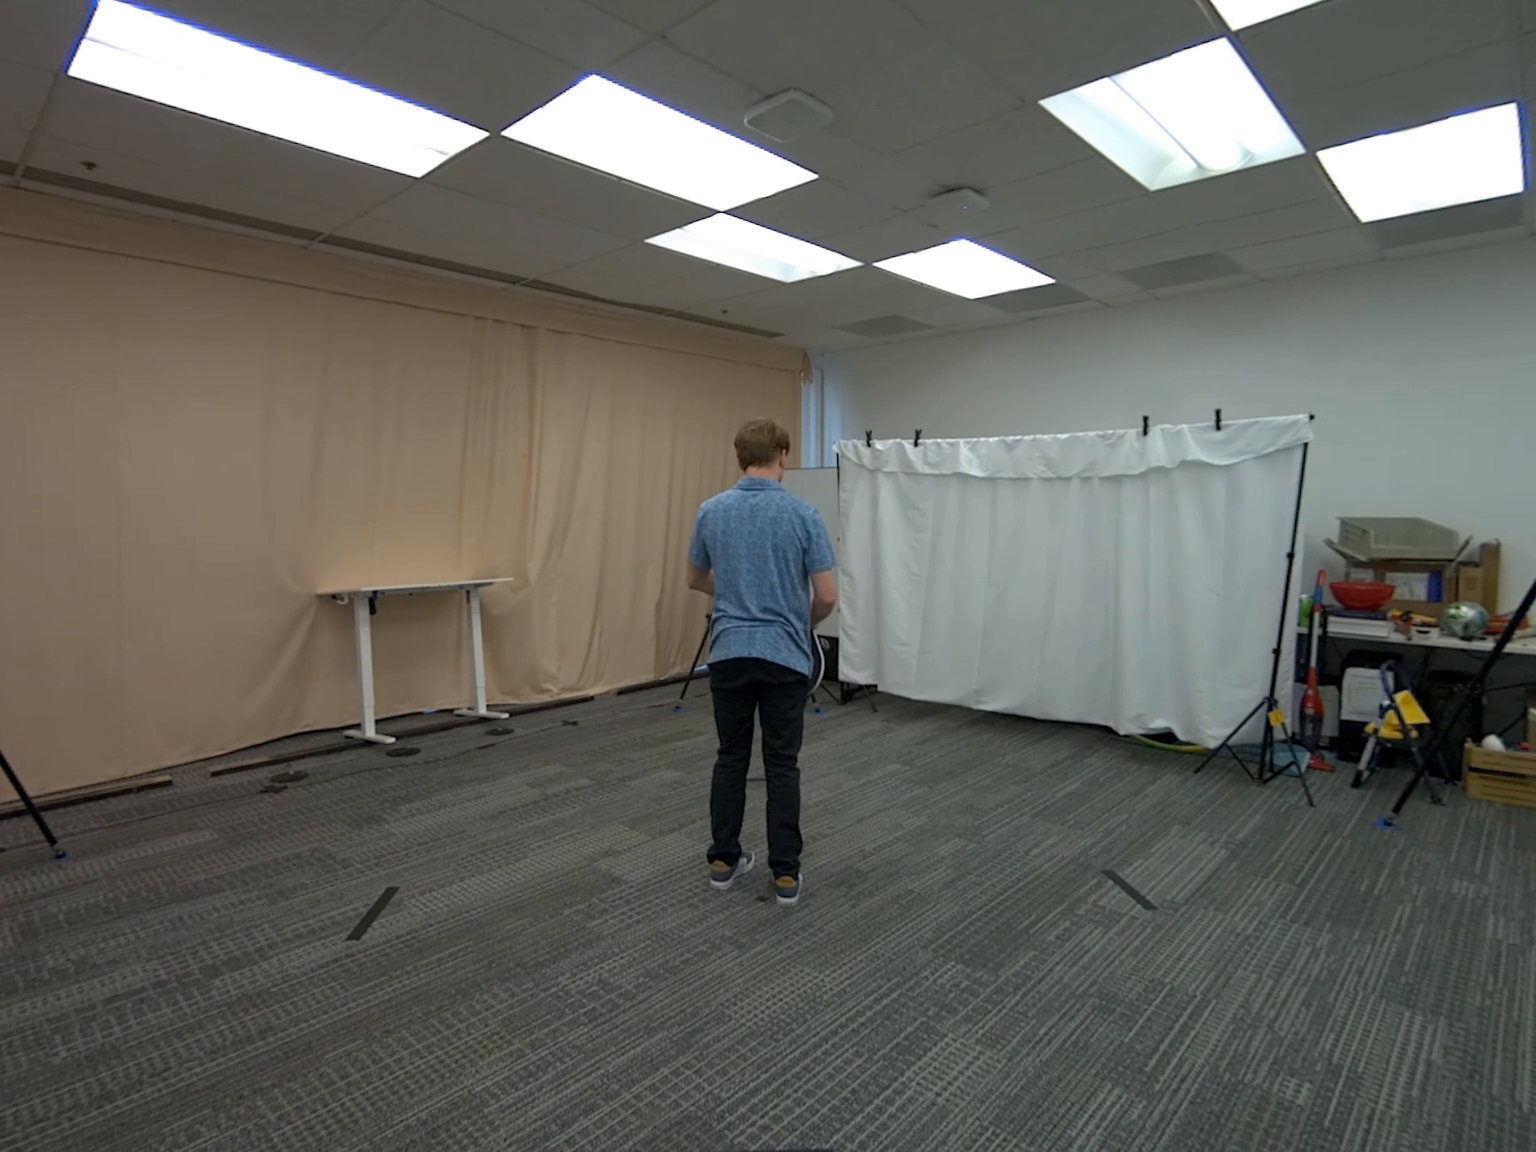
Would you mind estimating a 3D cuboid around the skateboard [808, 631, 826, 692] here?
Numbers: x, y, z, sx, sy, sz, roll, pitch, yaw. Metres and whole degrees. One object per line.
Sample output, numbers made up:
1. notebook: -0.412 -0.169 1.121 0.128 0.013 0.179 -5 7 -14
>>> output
1. skateboard: 0.100 0.141 3.396 0.106 0.806 0.195 21 -52 -40
